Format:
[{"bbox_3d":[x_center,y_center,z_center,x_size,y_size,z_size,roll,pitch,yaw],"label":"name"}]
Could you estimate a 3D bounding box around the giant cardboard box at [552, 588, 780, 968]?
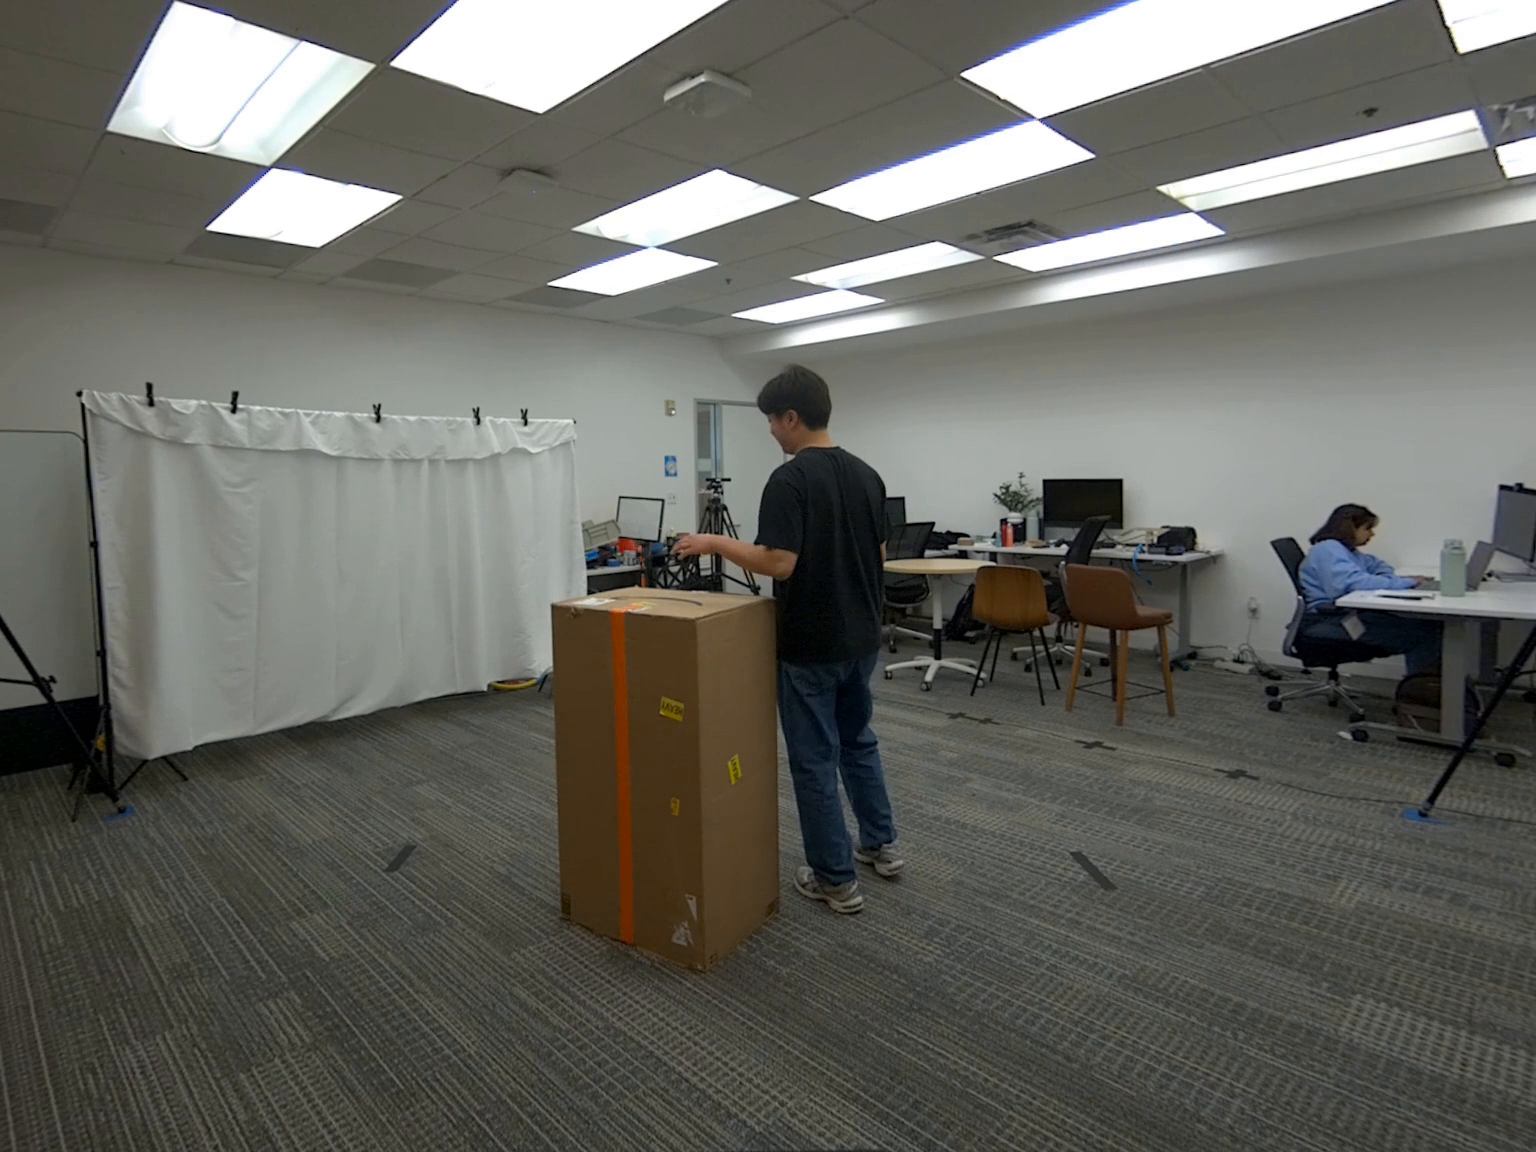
[{"bbox_3d":[-0.322,0.580,2.712,0.601,1.022,0.436,2,6,35],"label":"giant cardboard box"}]
